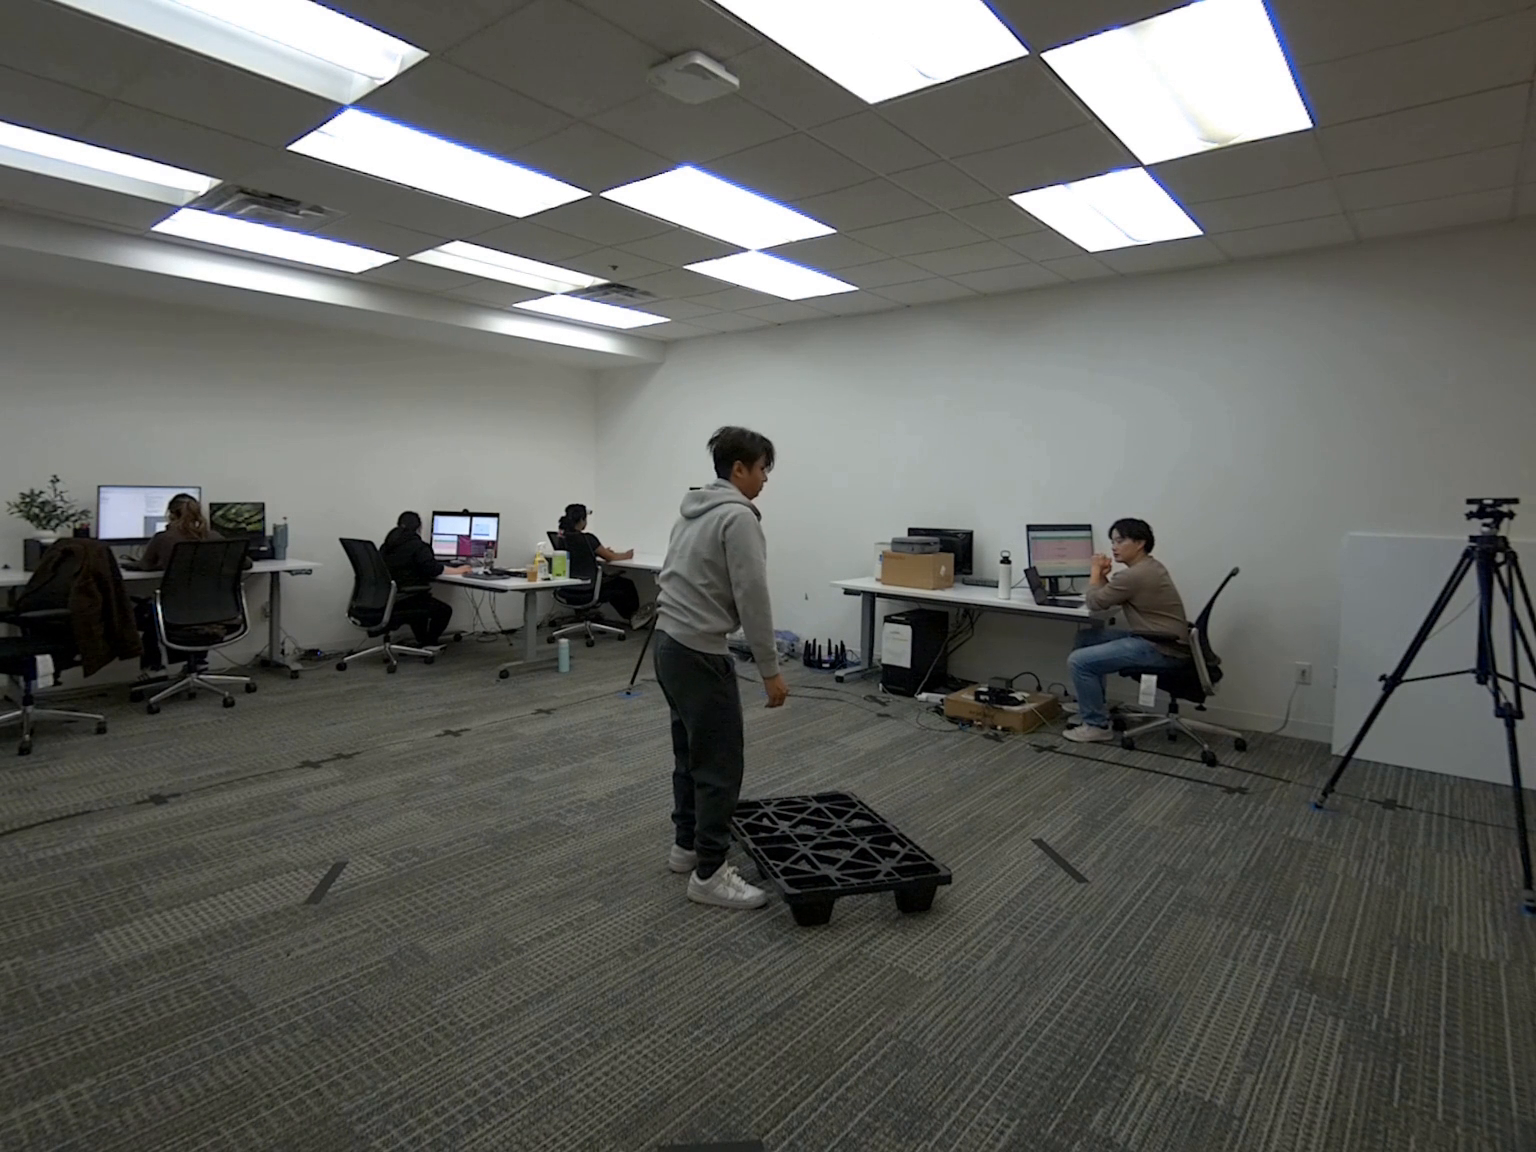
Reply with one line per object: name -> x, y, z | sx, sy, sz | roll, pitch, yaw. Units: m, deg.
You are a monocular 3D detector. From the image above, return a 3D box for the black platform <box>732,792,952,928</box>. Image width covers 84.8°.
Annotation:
black platform -> 0.194, 1.006, 3.116 | 0.594, 0.143, 0.824 | 0, 6, -19
